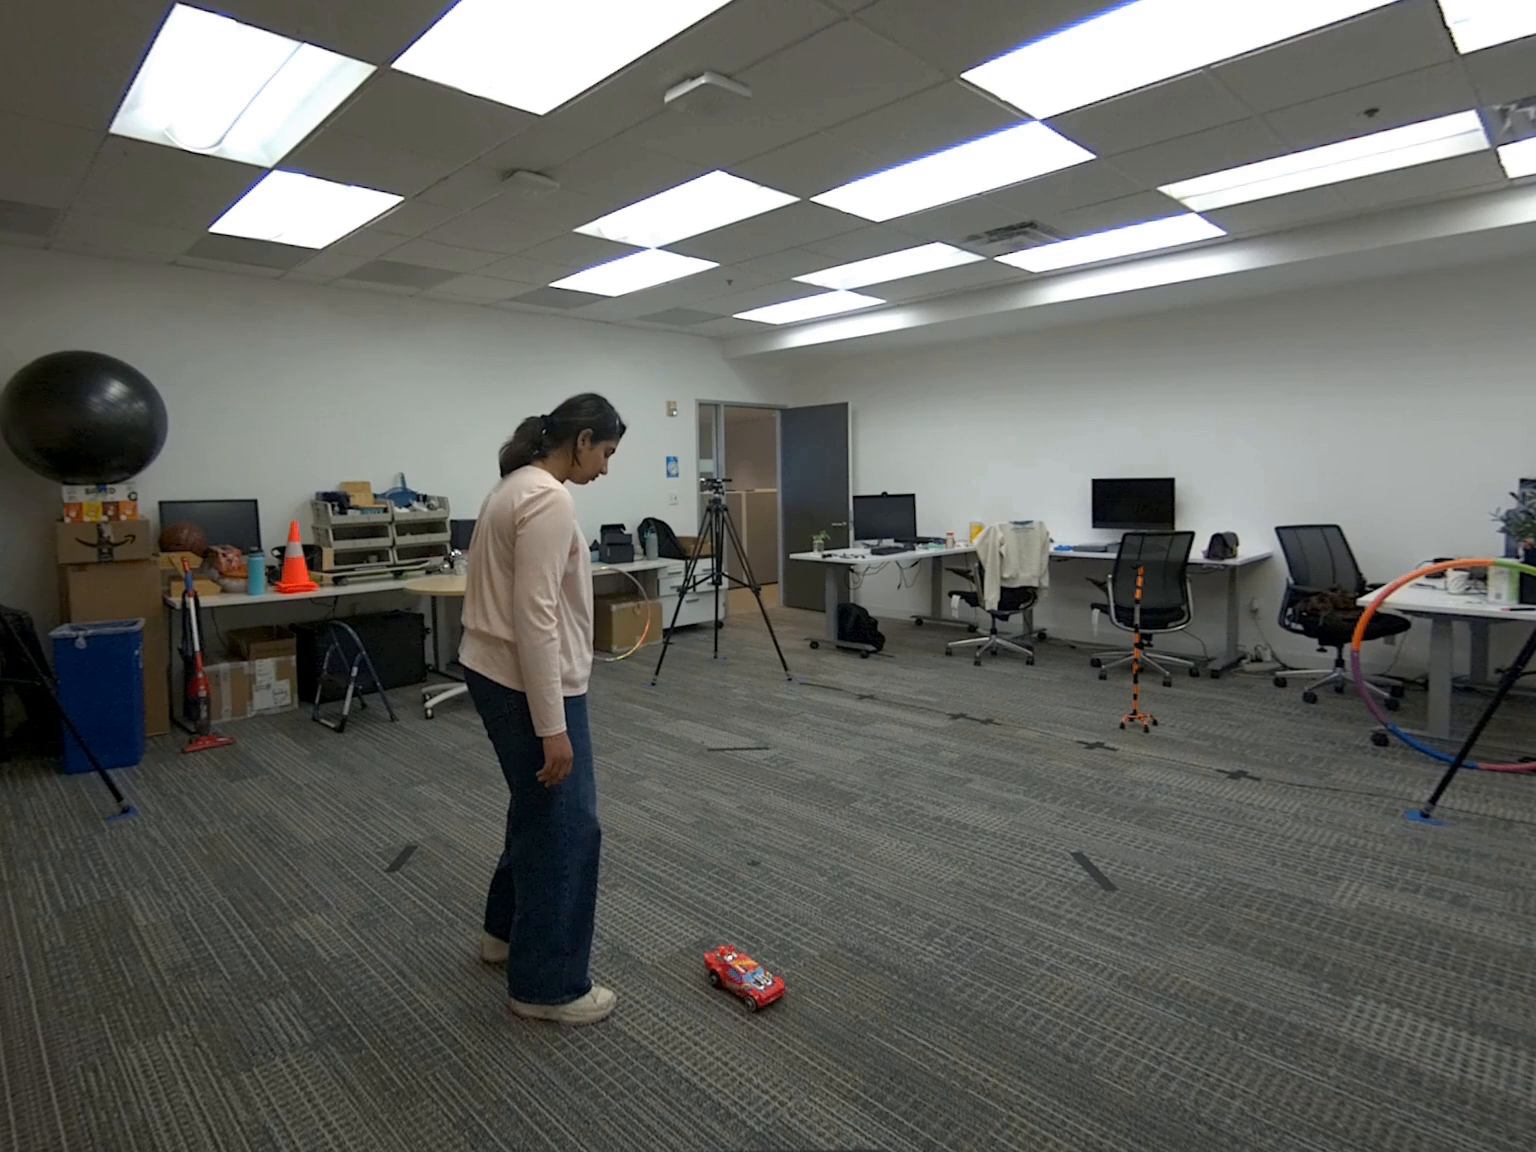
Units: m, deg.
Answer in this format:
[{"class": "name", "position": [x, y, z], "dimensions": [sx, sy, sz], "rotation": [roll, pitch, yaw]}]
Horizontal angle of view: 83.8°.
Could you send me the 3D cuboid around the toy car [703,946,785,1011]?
[{"class": "toy car", "position": [-0.068, 1.097, 2.348], "dimensions": [0.127, 0.082, 0.264], "rotation": [-7, 20, -40]}]
